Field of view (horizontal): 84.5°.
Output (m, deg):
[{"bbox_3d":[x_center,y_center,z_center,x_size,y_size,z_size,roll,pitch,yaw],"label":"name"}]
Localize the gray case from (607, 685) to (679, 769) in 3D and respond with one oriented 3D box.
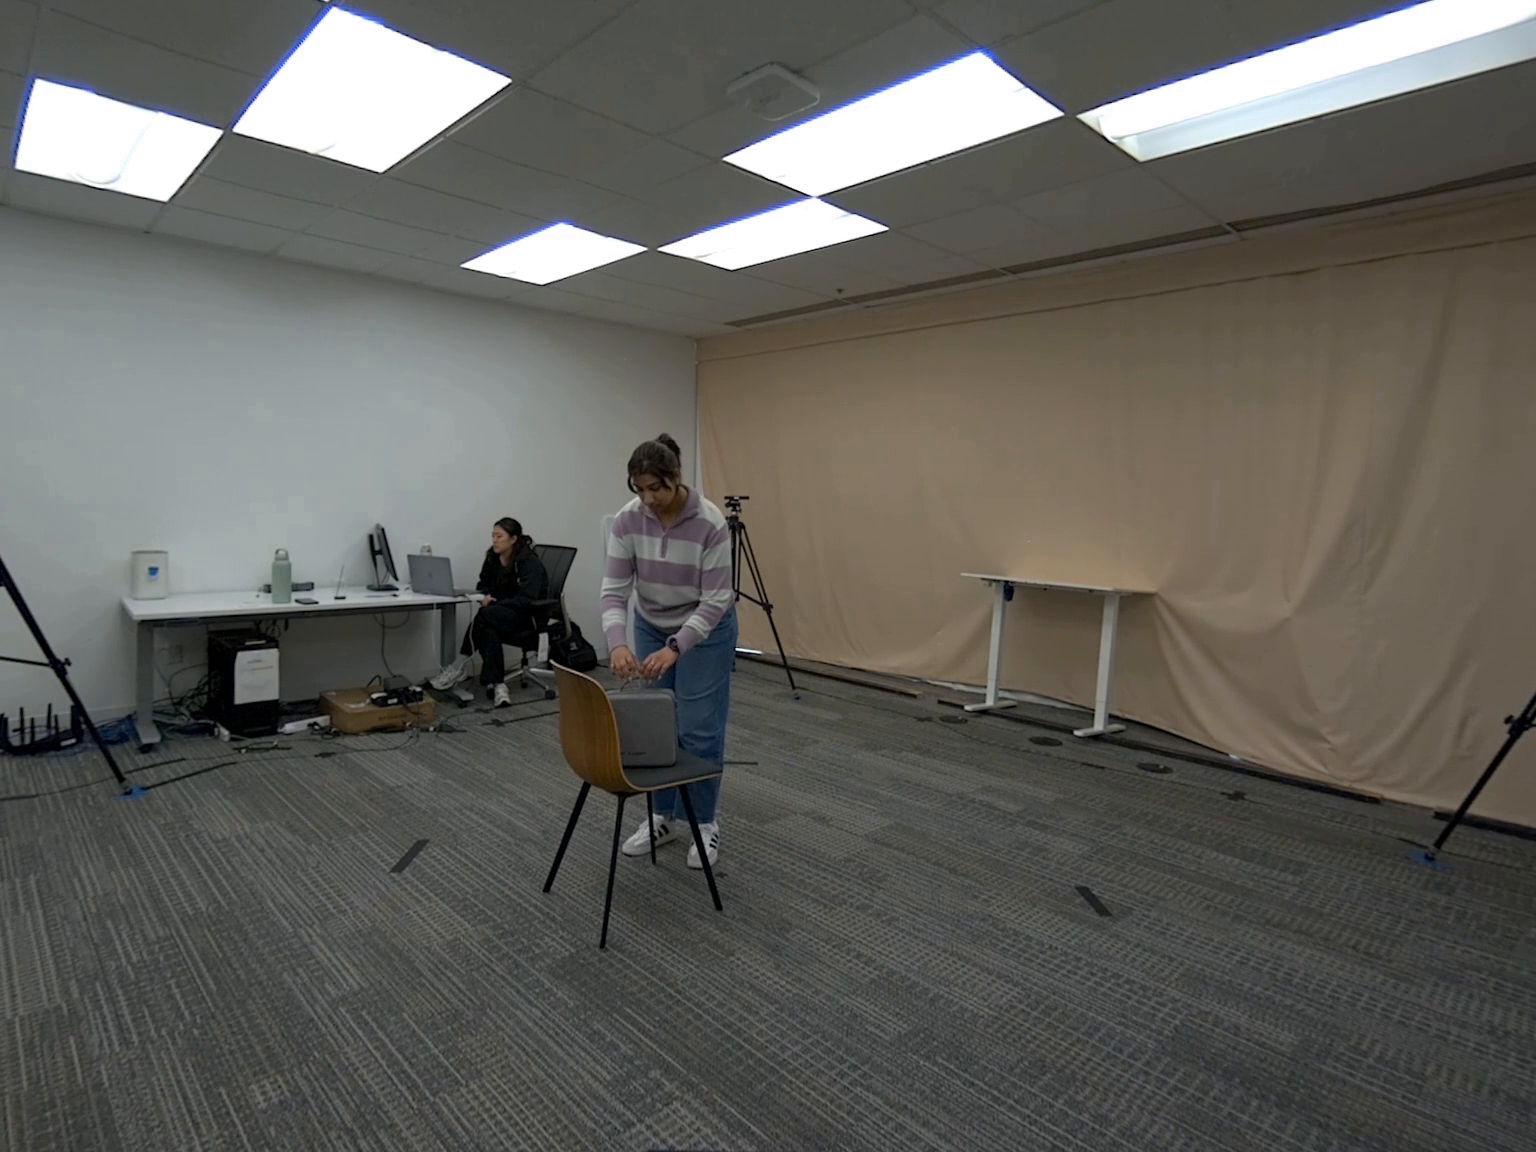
[{"bbox_3d":[-0.446,0.511,2.855,0.257,0.259,0.104,-1,5,2],"label":"gray case"}]
